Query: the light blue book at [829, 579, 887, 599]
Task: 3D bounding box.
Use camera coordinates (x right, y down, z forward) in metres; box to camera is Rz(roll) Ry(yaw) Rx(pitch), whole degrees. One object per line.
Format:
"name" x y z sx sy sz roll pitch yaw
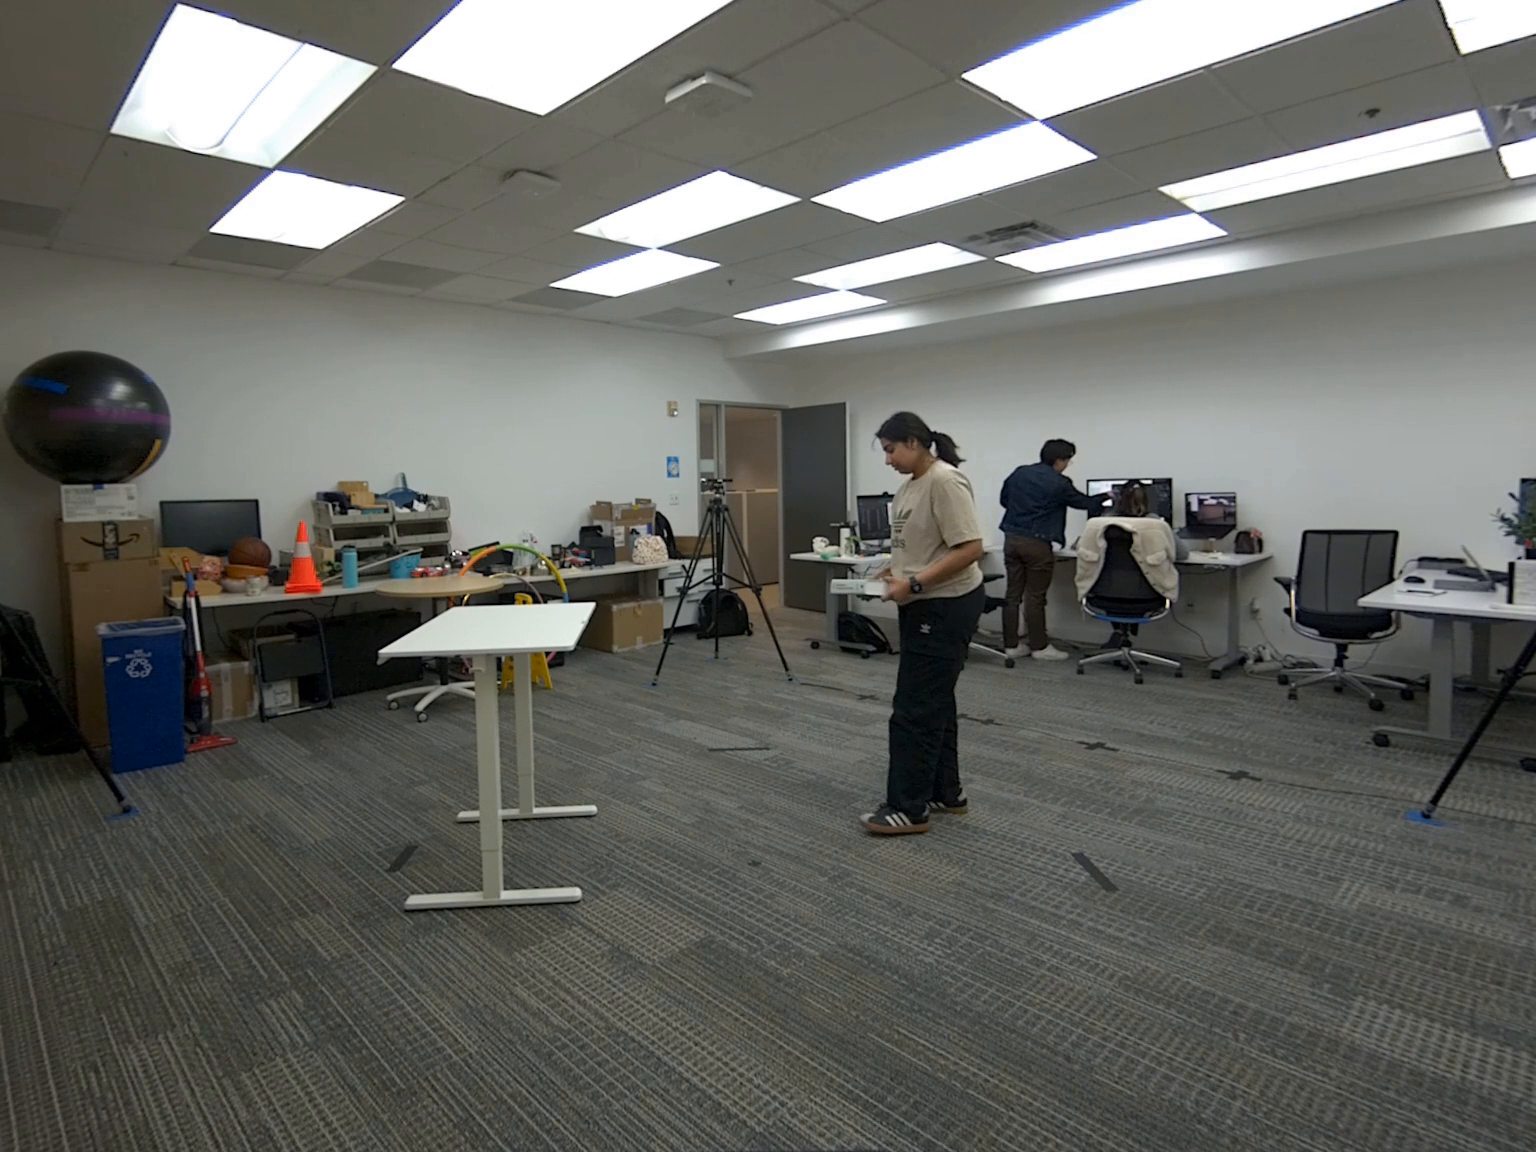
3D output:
"light blue book" 0.418 0.047 3.417 0.187 0.059 0.266 2 -1 -24
